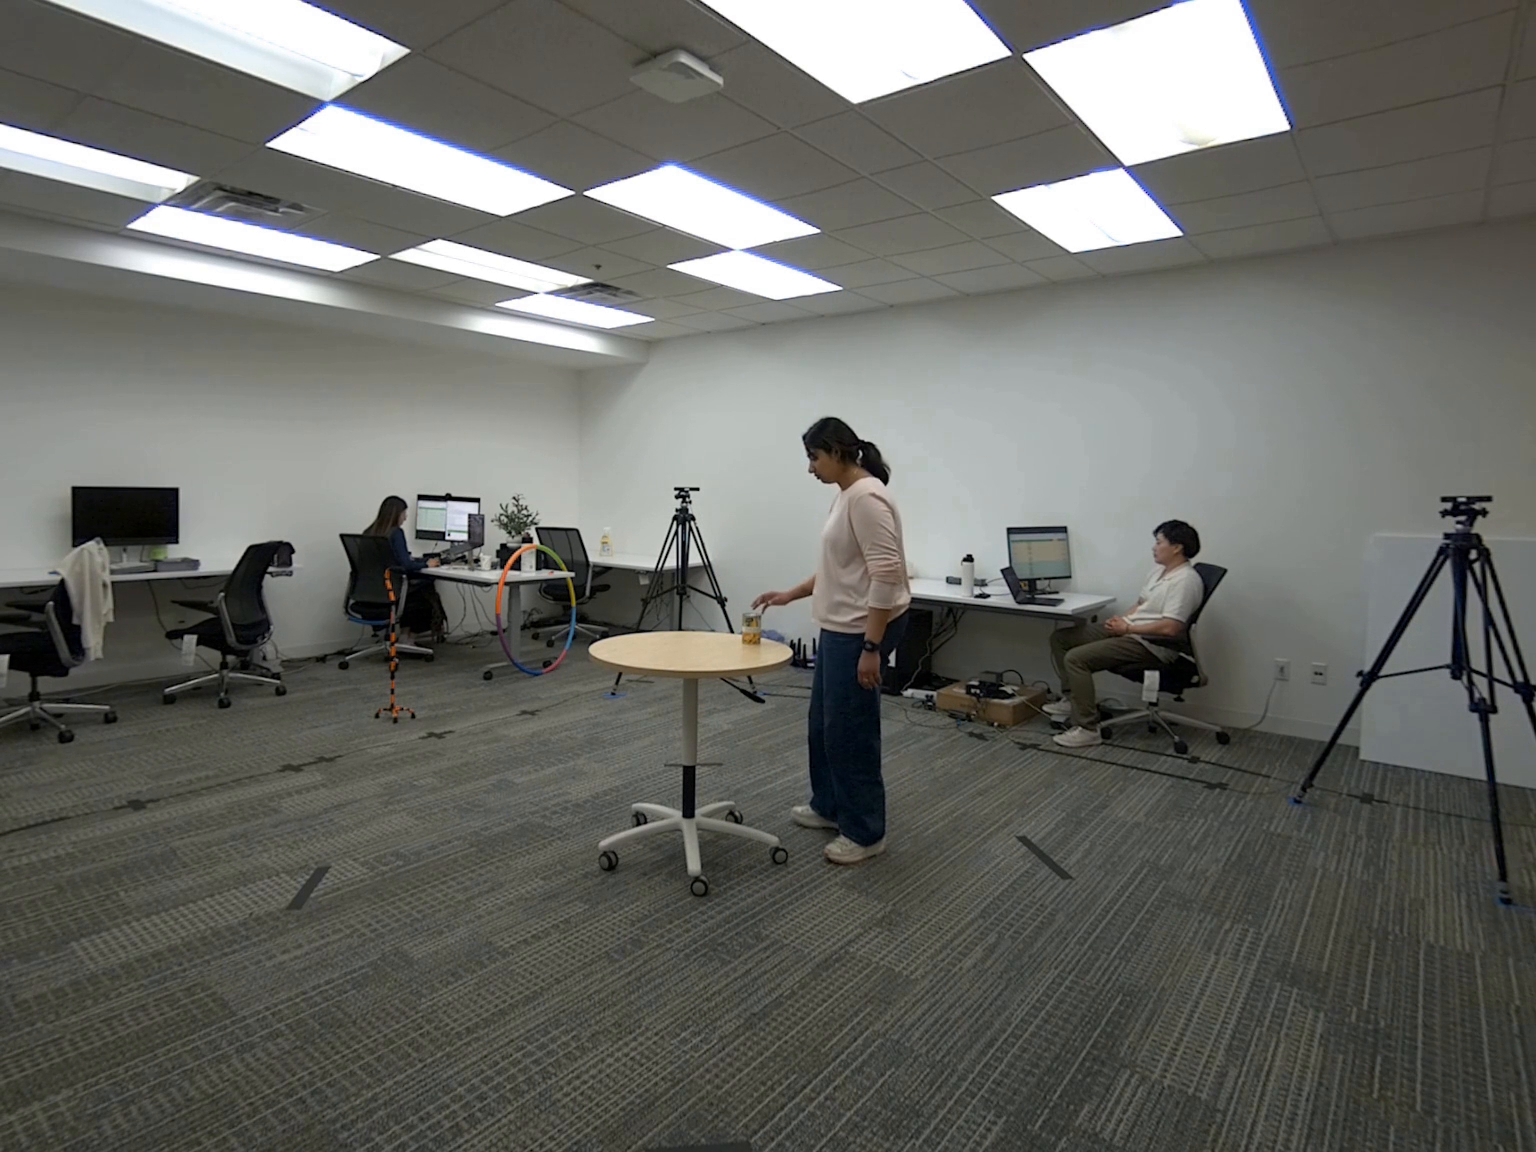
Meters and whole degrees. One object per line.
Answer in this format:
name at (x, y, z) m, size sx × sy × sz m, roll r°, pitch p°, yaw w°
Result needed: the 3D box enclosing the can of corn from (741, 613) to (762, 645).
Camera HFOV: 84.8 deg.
can of corn at (-0.084, 0.203, 3.360) m, size 0.074 × 0.111 × 0.074 m, roll 4°, pitch 0°, yaw -2°
